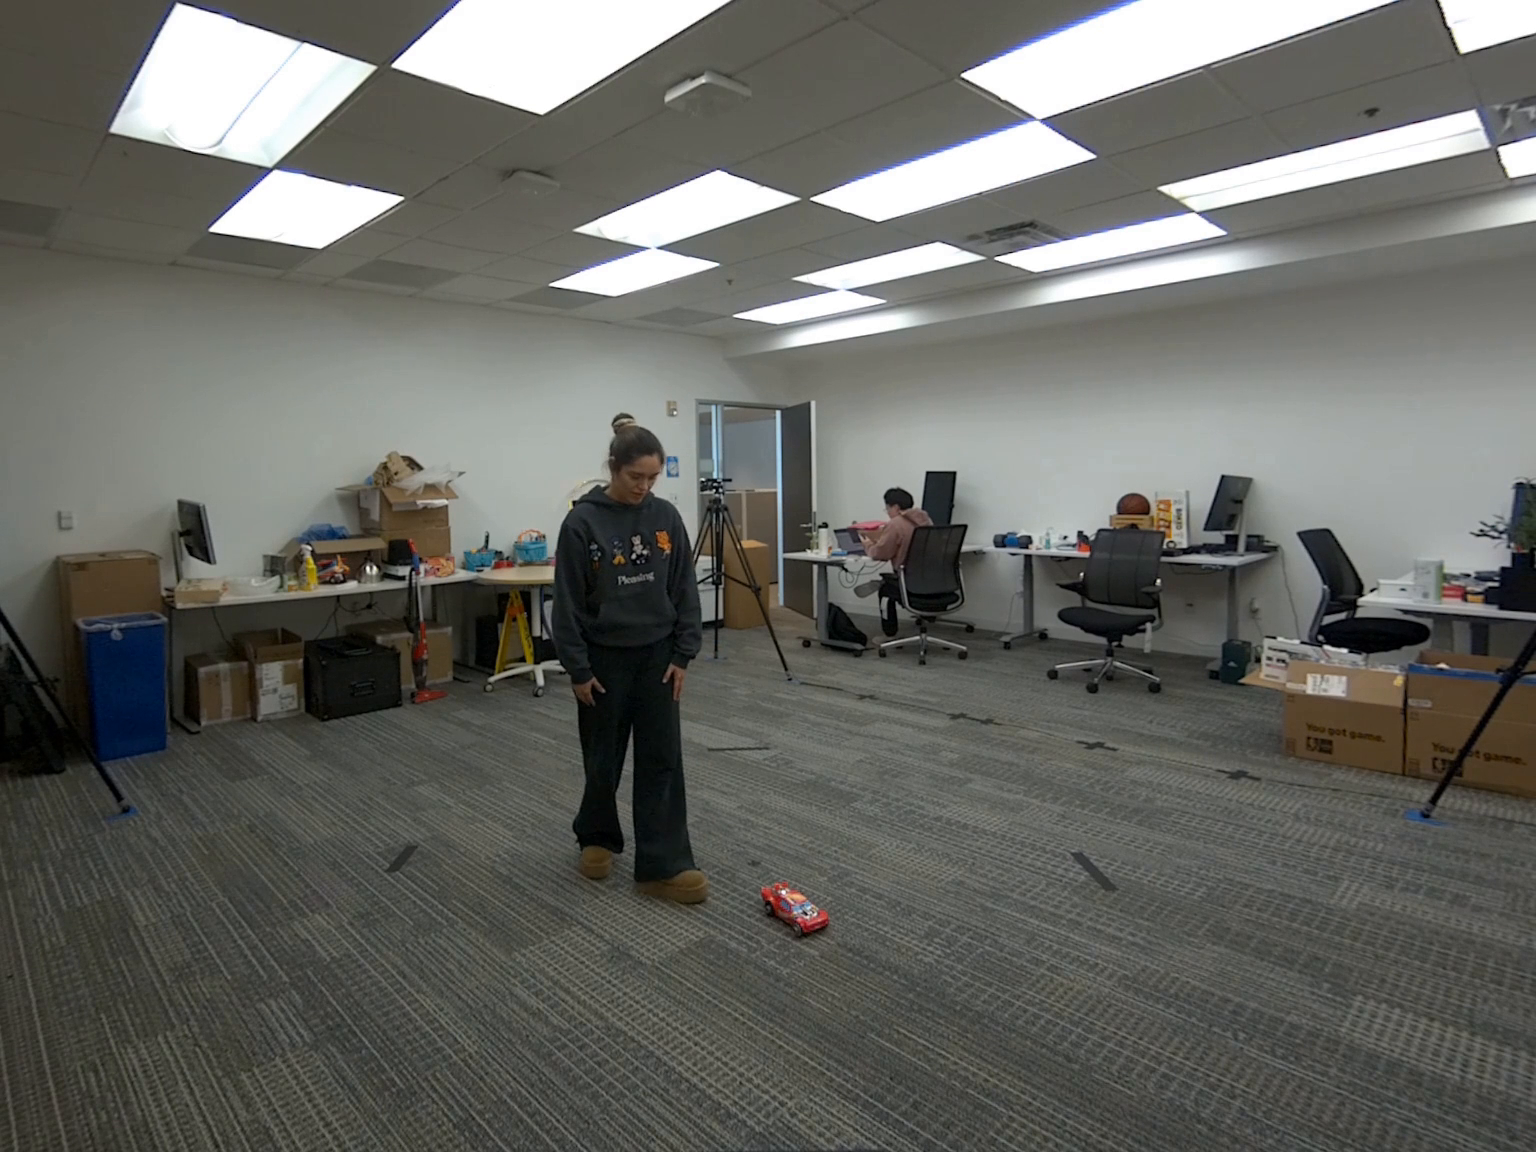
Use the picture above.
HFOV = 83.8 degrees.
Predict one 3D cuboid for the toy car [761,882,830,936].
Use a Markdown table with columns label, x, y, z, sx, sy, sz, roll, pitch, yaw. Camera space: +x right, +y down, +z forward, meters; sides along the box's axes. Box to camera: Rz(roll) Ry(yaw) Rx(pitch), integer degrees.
| label | x | y | z | sx | sy | sz | roll | pitch | yaw |
| --- | --- | --- | --- | --- | --- | --- | --- | --- | --- |
| toy car | 0.083 | 1.057 | 2.698 | 0.127 | 0.082 | 0.264 | -6 | 18 | -33 |
